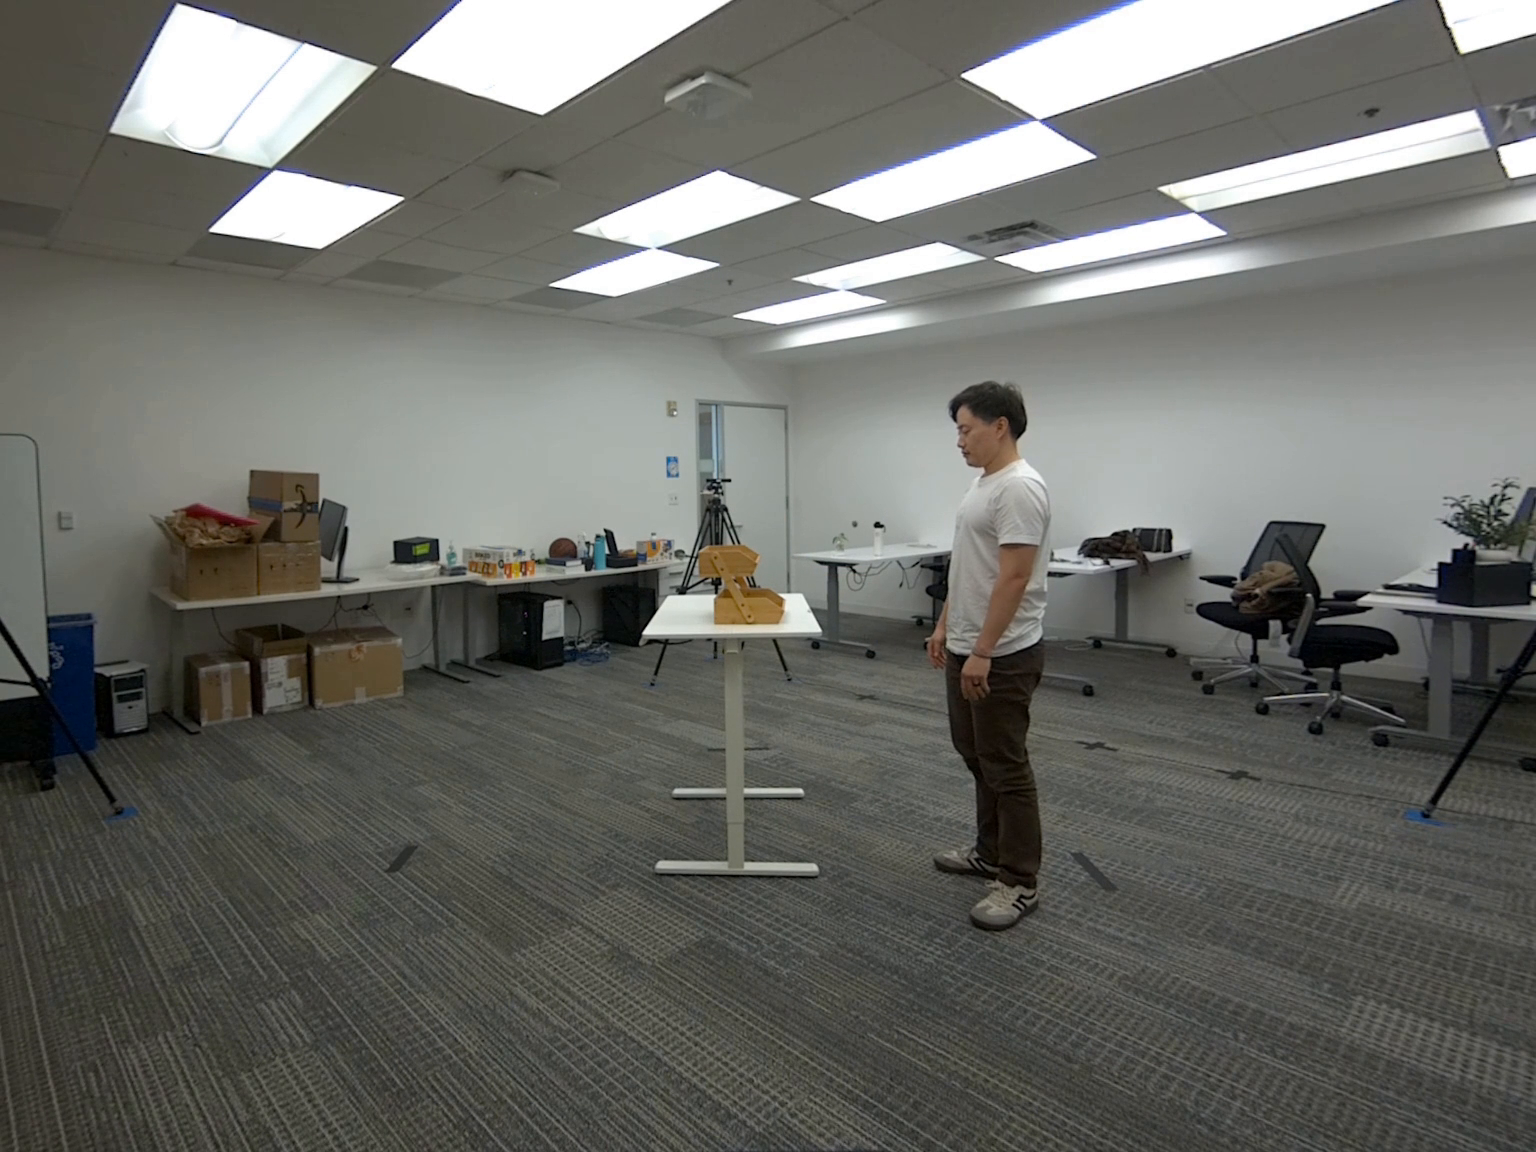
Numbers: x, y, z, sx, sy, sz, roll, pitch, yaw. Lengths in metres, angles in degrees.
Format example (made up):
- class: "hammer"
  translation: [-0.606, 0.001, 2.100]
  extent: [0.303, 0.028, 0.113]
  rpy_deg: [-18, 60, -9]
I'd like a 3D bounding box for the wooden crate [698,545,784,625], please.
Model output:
- class: "wooden crate"
  translation: [-0.078, 0.022, 3.168]
  extent: [0.304, 0.272, 0.324]
  rpy_deg: [-3, 4, 5]
